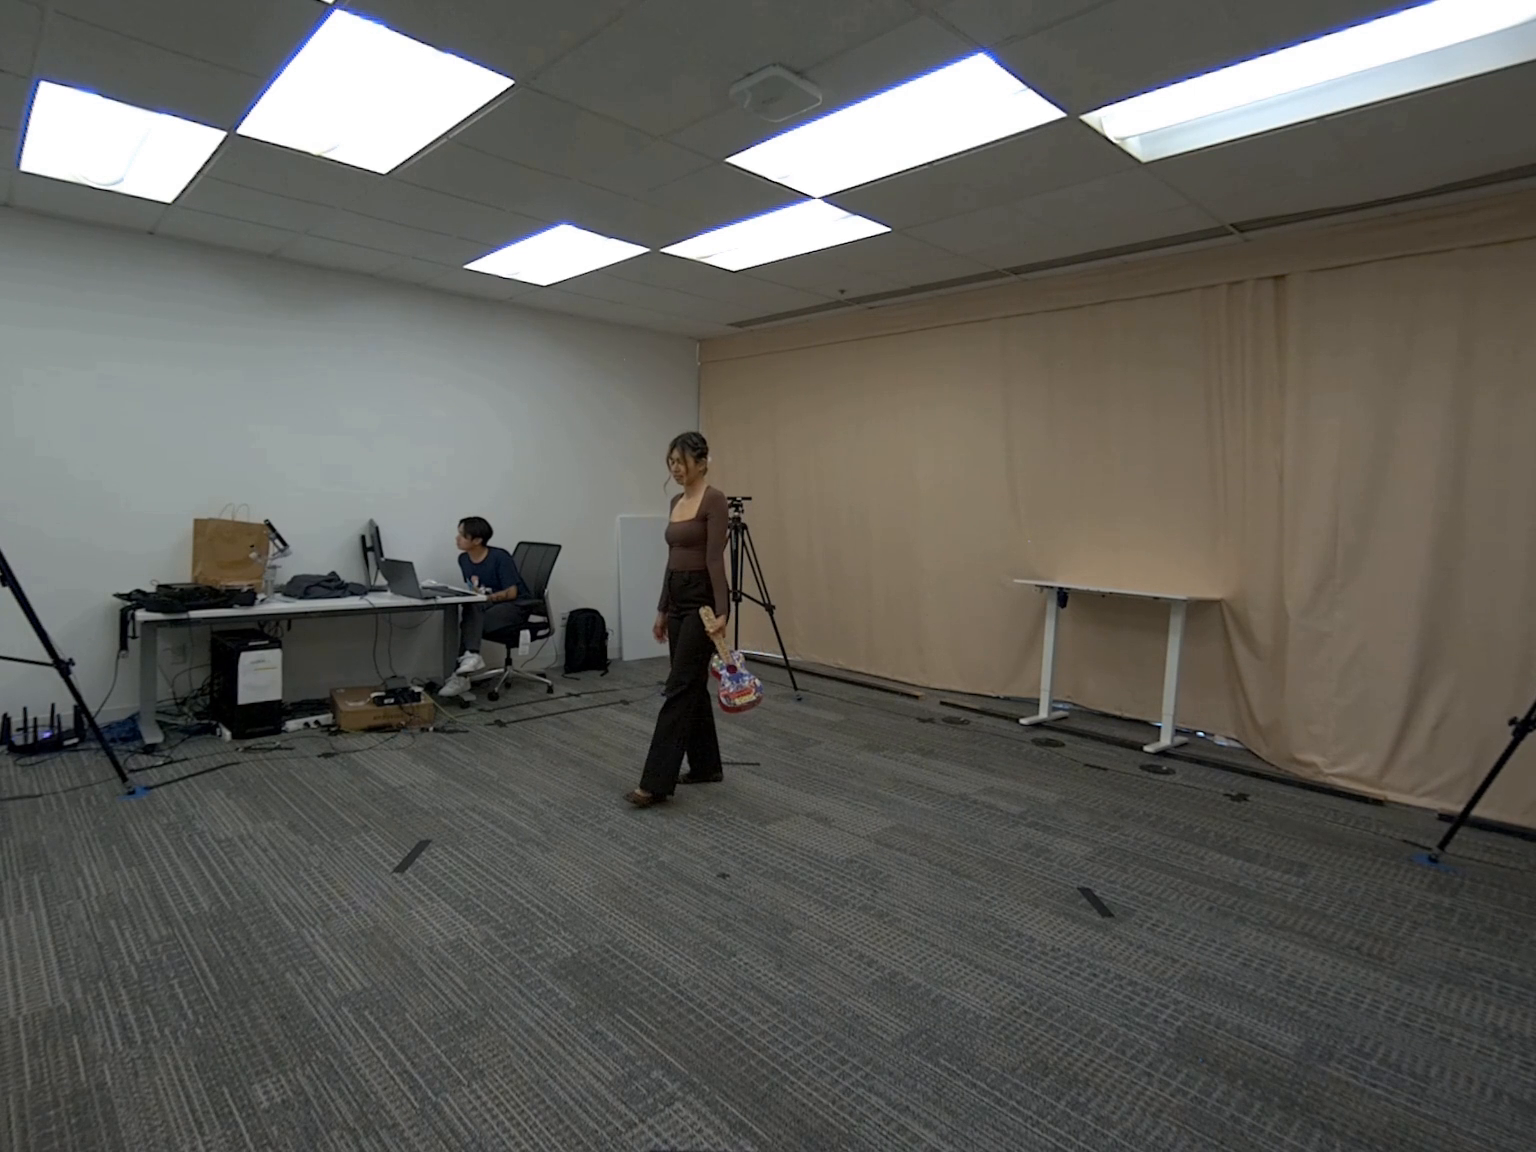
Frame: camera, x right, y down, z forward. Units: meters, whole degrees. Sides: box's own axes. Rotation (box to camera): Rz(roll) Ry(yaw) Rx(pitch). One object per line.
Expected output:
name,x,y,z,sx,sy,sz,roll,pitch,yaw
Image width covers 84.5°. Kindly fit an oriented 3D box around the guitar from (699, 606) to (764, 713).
guitar,-0.169,0.347,3.649,0.191,0.510,0.069,-9,-33,-12
